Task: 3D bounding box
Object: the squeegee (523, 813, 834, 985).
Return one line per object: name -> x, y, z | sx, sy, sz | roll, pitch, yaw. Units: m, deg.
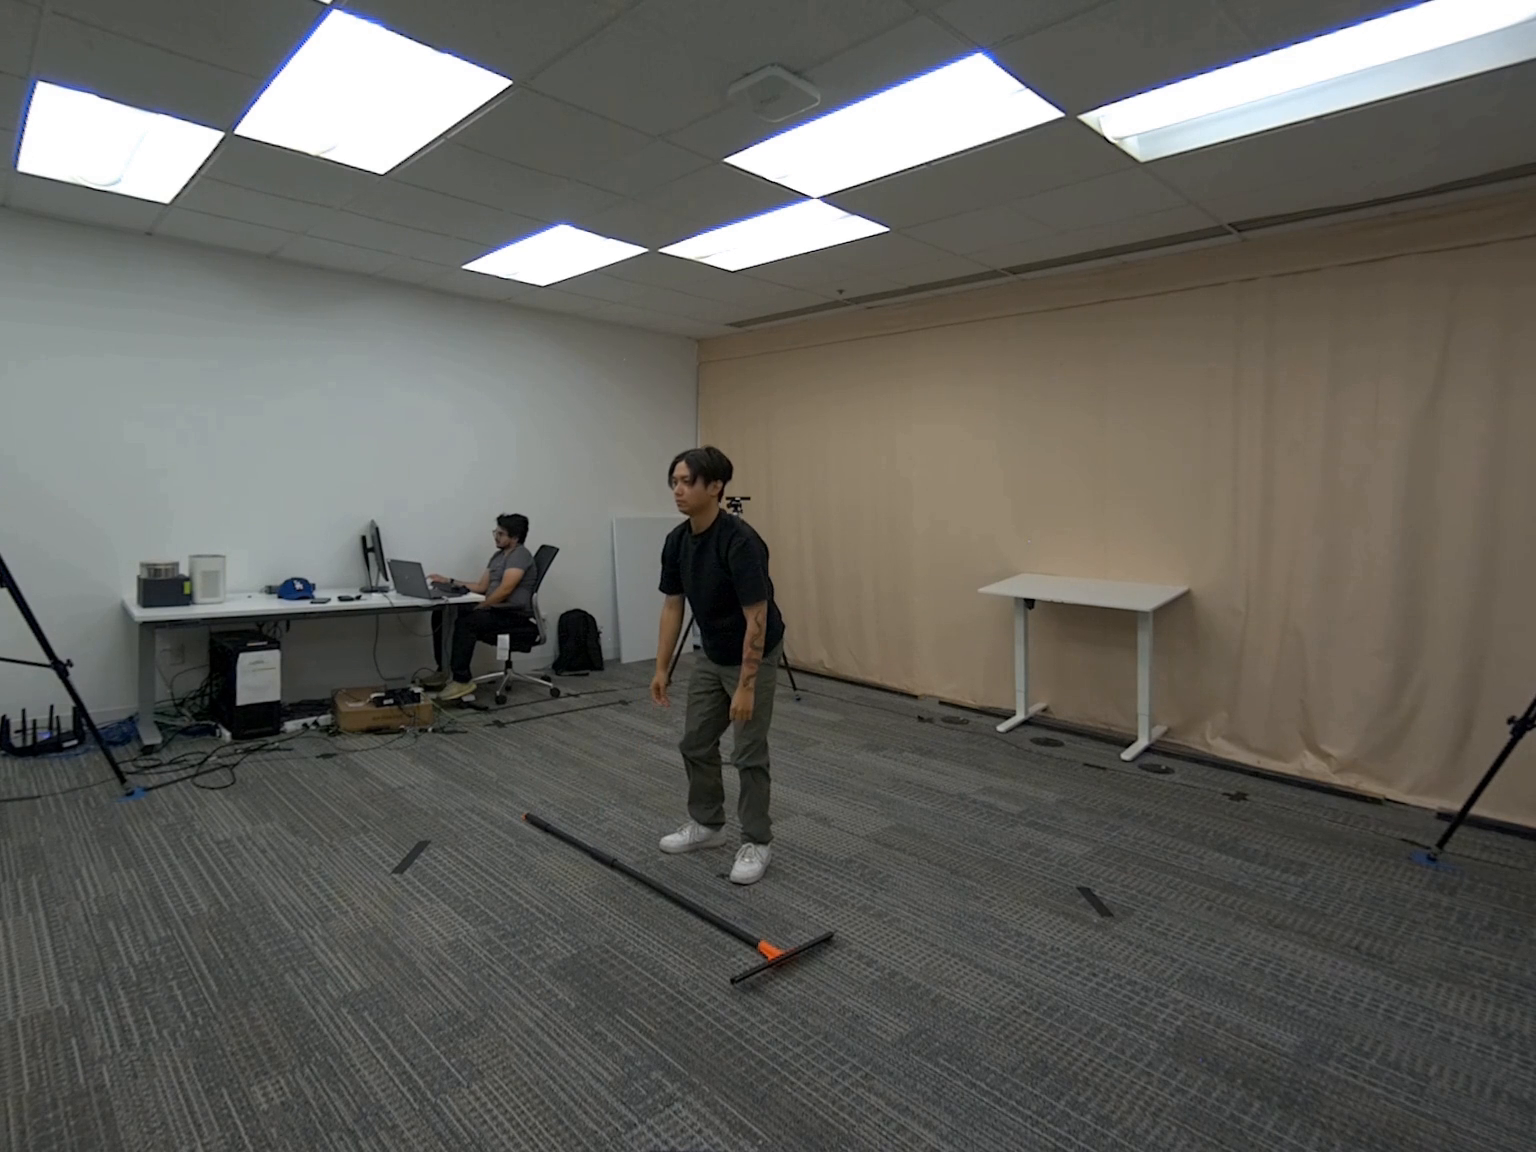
squeegee -> -0.479, 1.066, 3.053 | 0.427, 0.053, 1.577 | -2, 6, -44
